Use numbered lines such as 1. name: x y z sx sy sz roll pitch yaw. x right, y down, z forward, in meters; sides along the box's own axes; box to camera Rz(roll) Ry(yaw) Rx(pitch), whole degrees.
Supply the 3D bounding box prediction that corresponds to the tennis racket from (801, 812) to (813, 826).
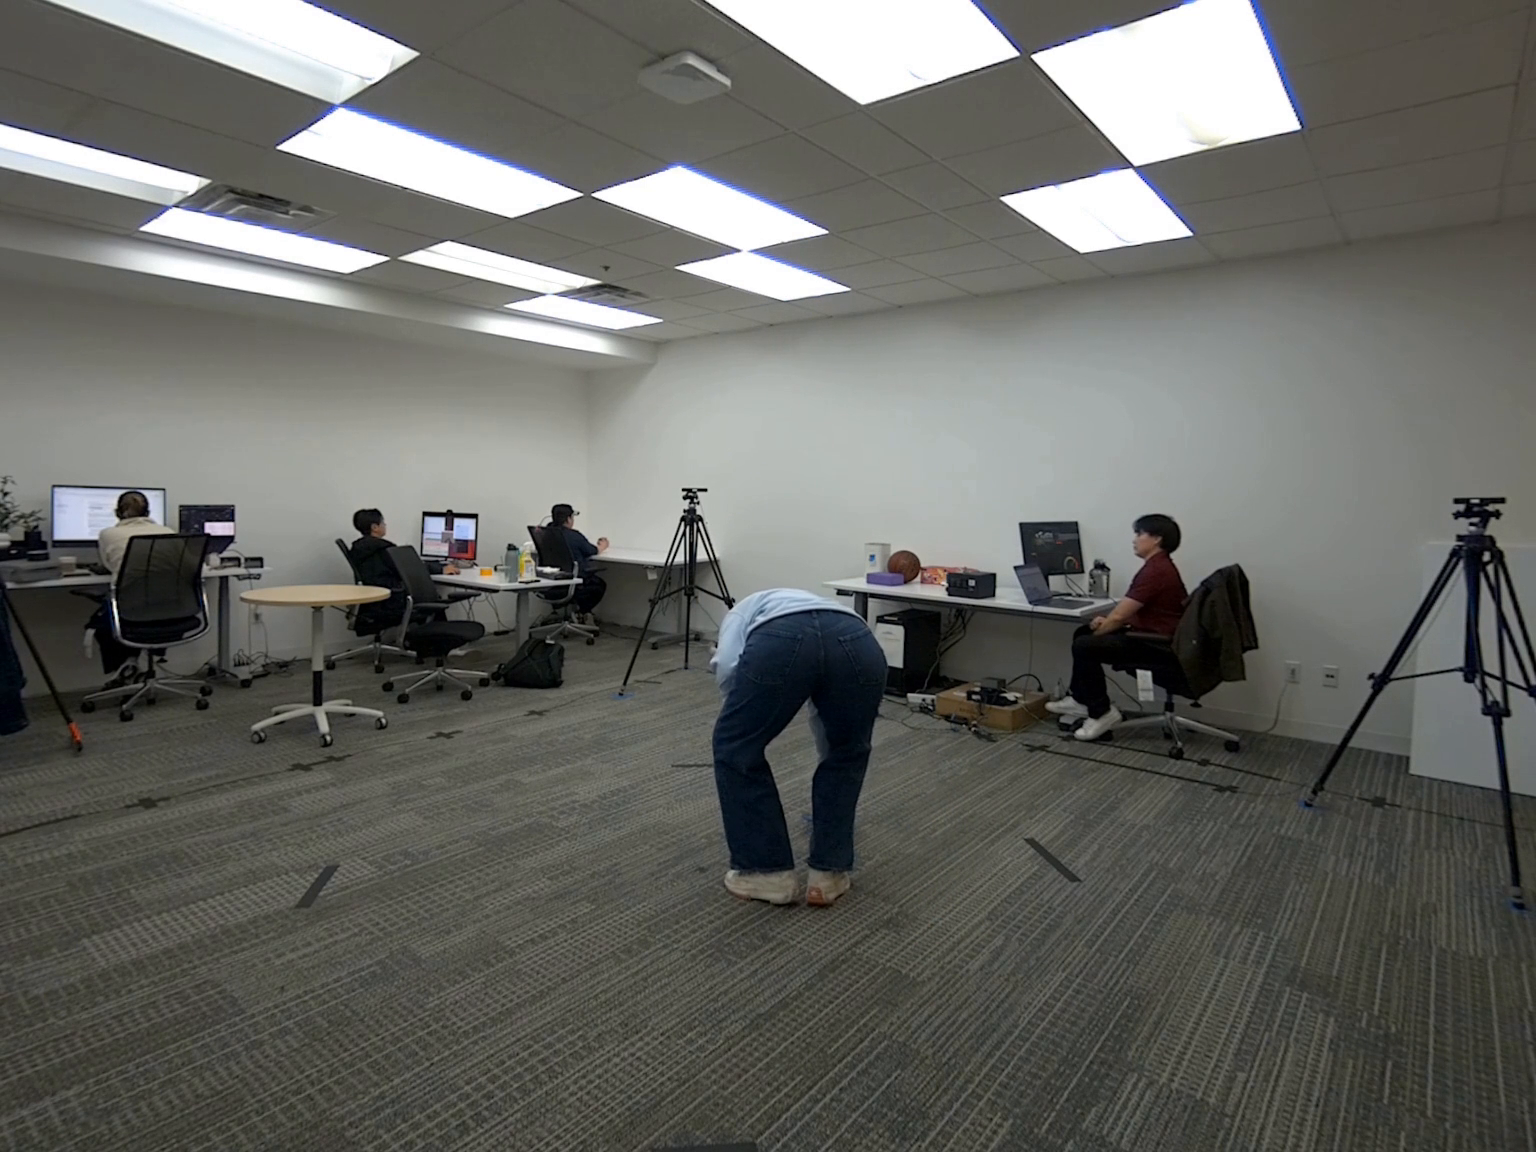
1. tennis racket: 0.234 0.981 3.406 0.213 0.032 0.430 7 -8 -3
